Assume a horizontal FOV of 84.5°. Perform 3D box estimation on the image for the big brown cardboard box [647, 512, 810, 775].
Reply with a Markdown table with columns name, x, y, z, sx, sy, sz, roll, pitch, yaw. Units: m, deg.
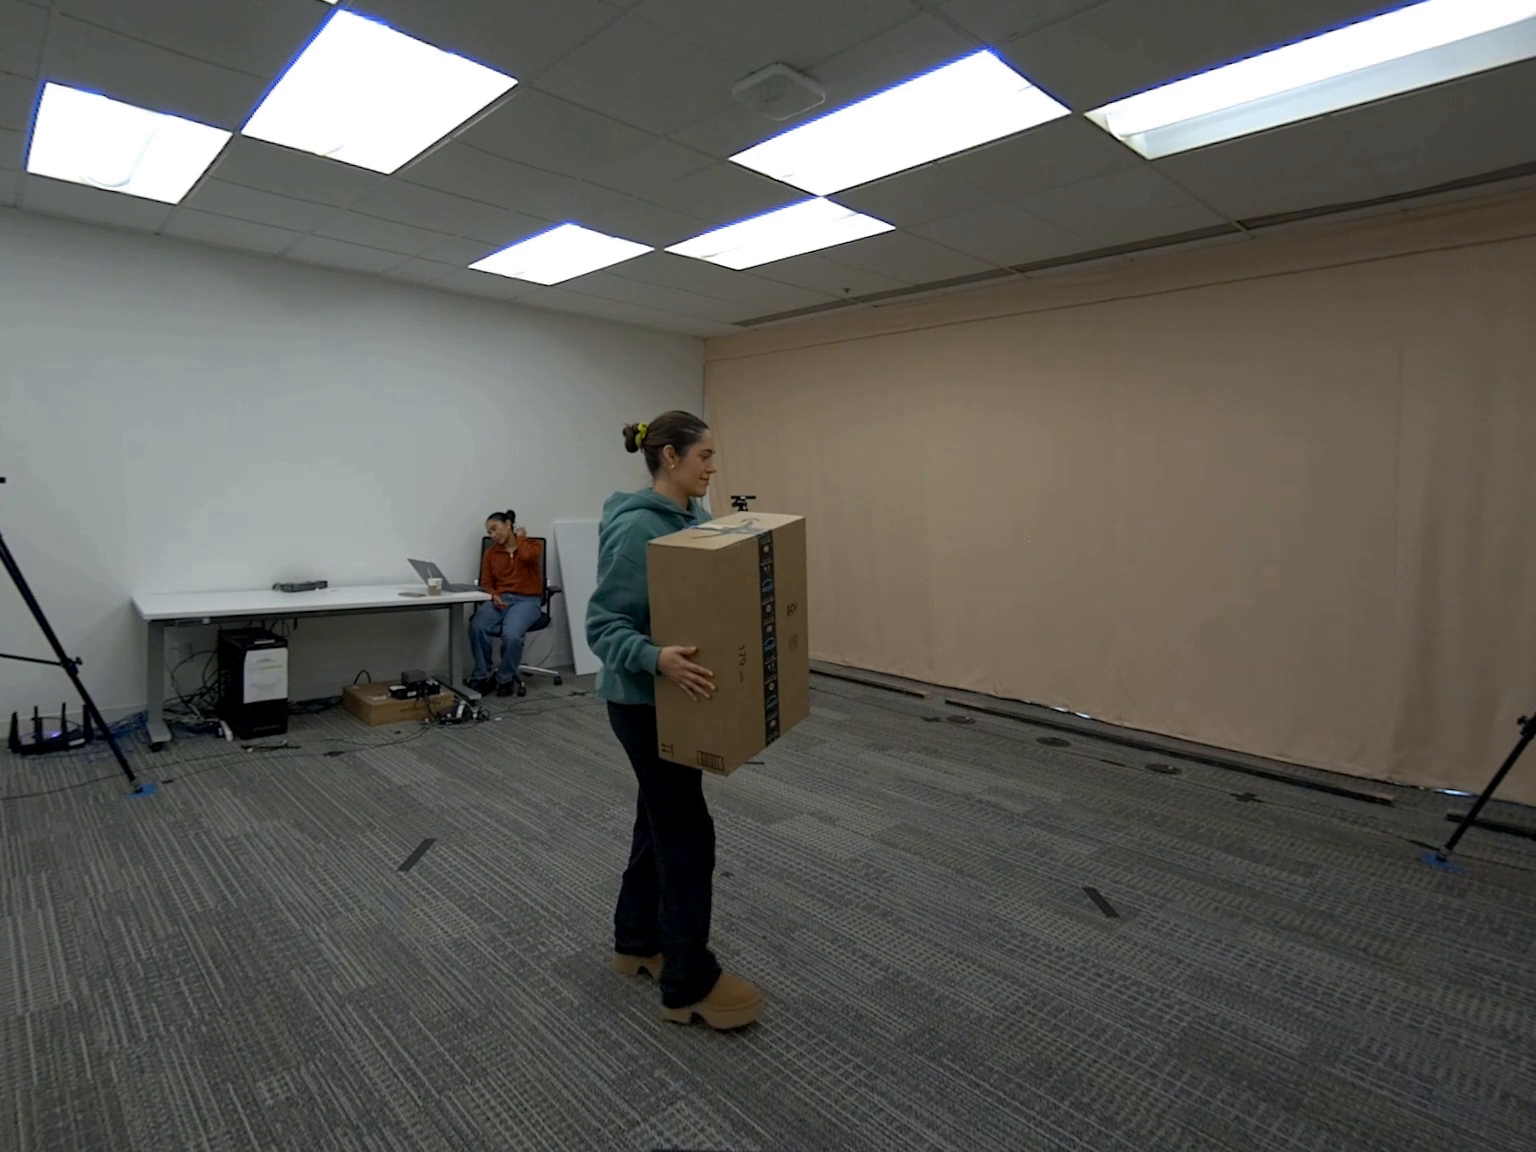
| name | x | y | z | sx | sy | sz | roll | pitch | yaw |
| --- | --- | --- | --- | --- | --- | --- | --- | --- | --- |
| big brown cardboard box | -0.097 | 0.155 | 2.188 | 0.239 | 0.584 | 0.411 | 7 | 14 | 33 |
